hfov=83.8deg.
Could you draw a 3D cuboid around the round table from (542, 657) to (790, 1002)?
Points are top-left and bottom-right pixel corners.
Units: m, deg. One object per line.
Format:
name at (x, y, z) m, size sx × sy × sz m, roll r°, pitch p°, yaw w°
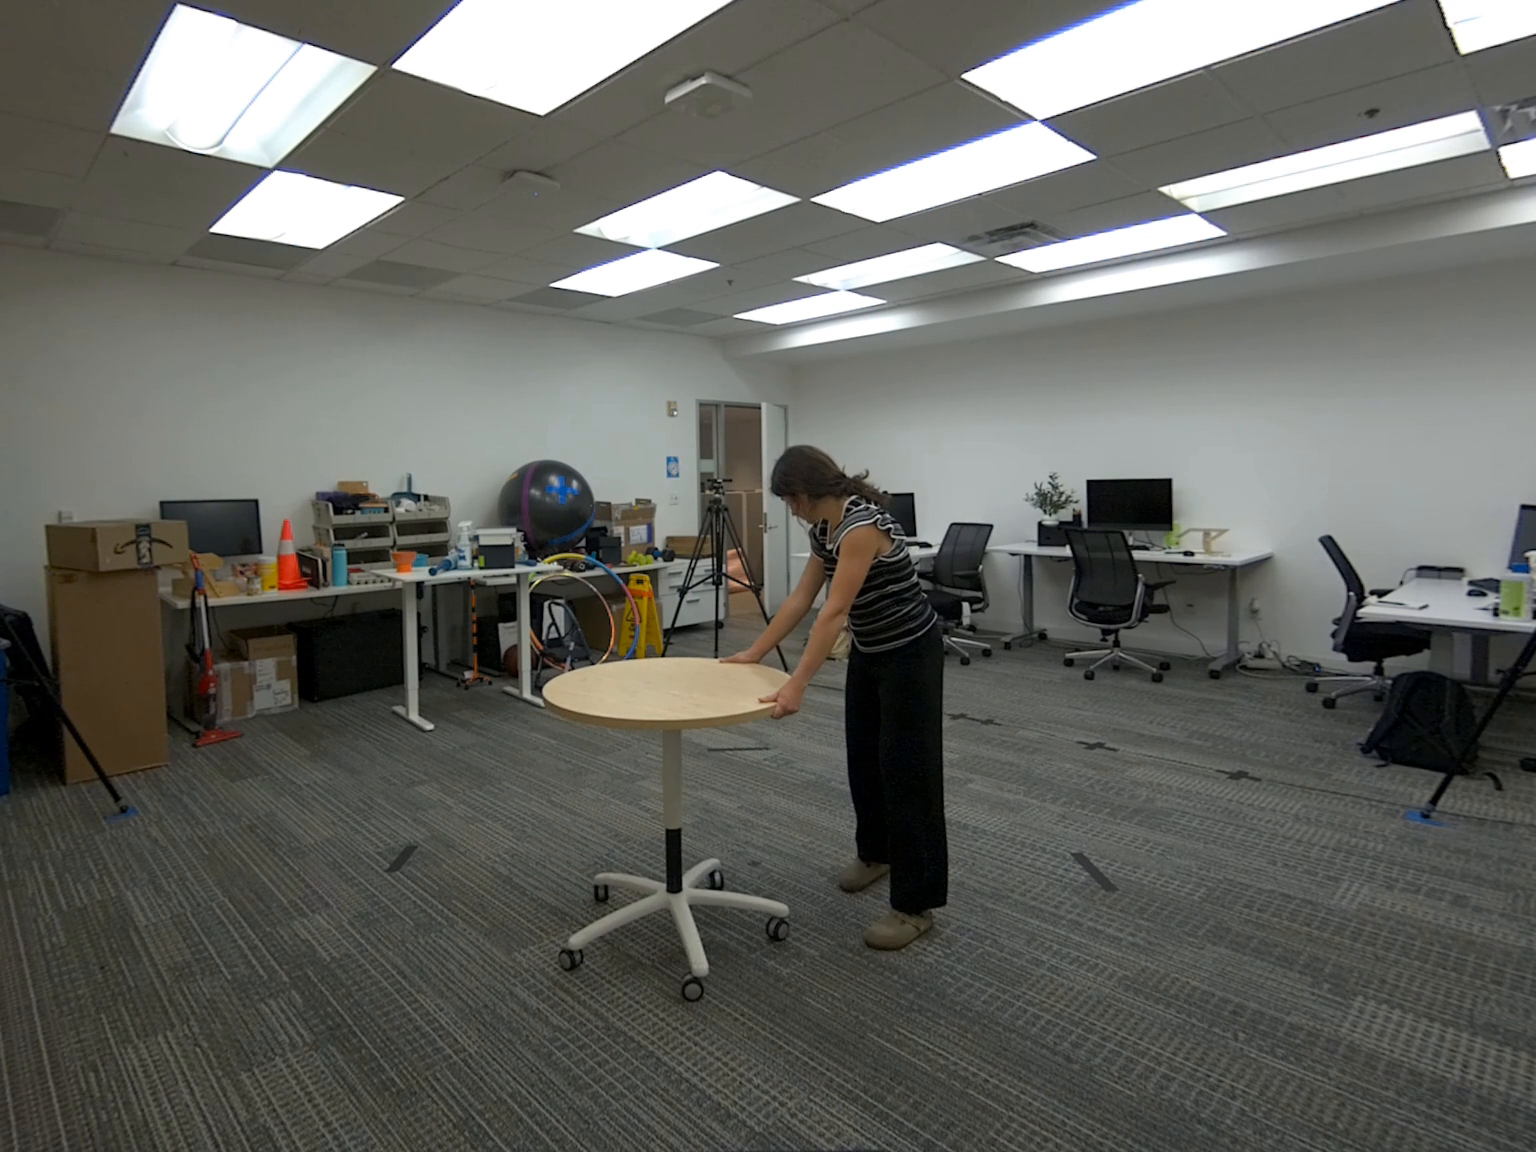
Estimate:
round table at (-0.292, 0.720, 2.609) m, size 0.763 × 0.791 × 0.768 m, roll 0°, pitch 5°, yaw -2°
